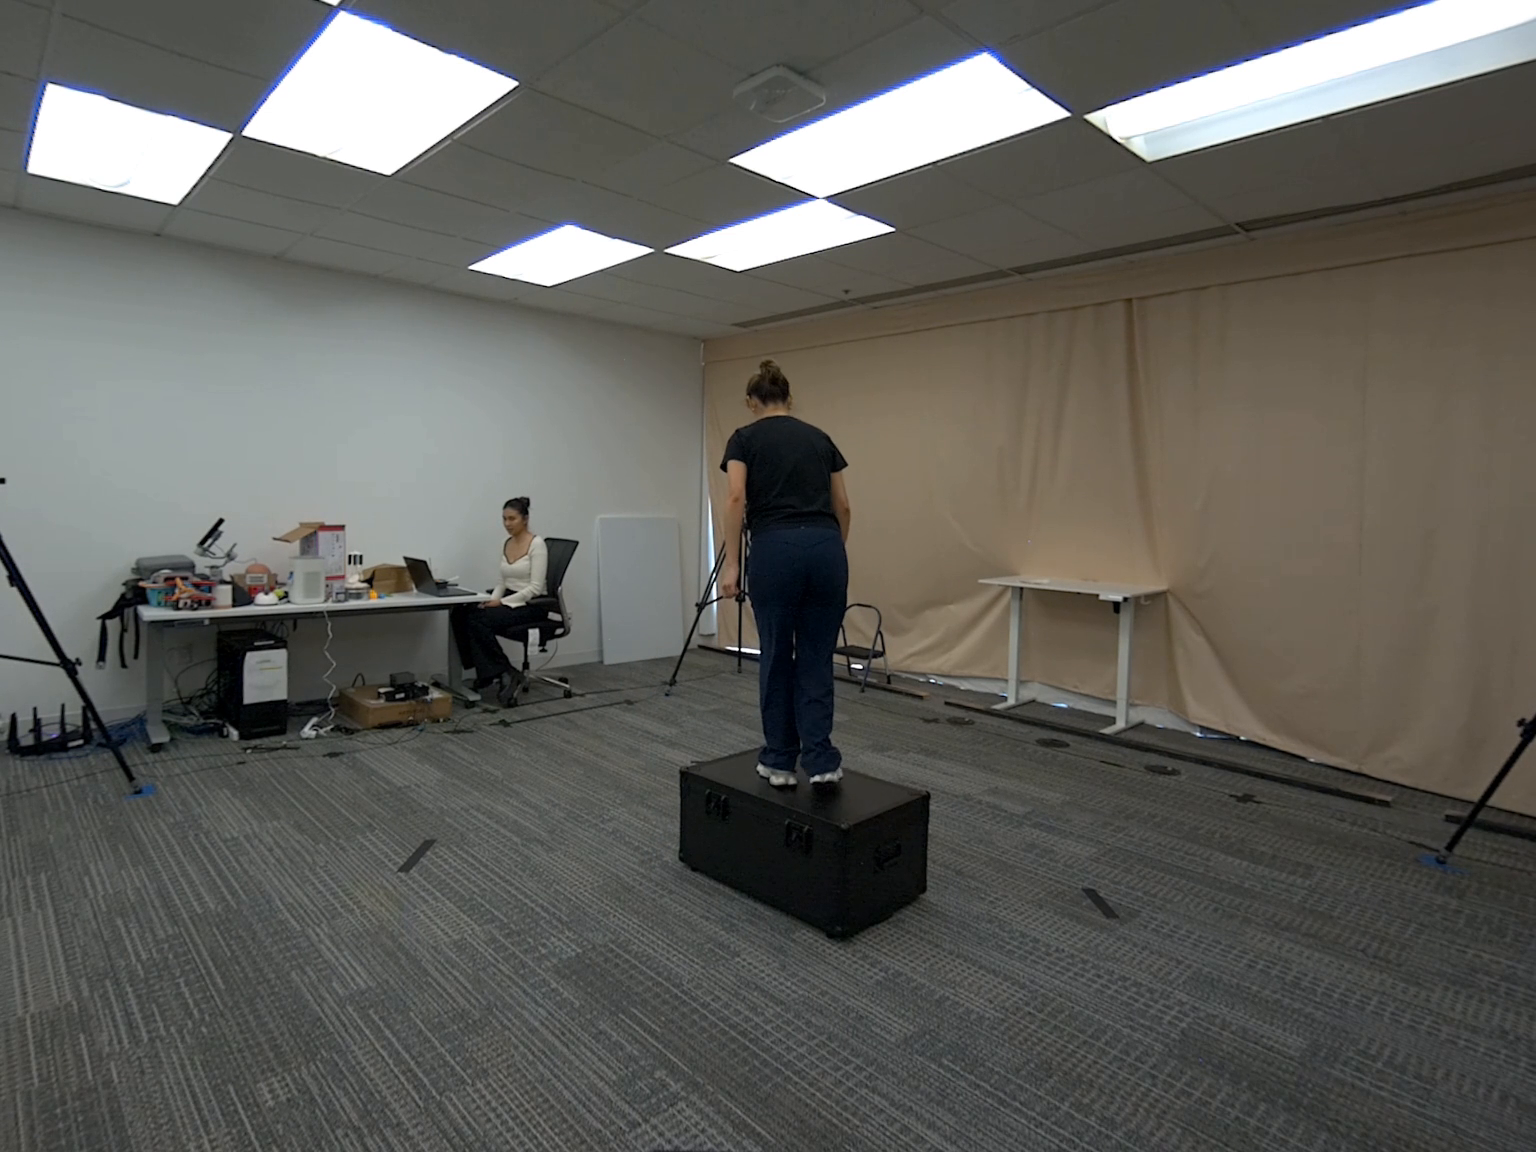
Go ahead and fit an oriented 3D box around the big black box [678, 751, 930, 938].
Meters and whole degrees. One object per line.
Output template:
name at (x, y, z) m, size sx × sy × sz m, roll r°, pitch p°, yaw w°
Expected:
big black box at (0.090, 0.927, 3.072) m, size 0.884 × 0.395 × 0.509 m, roll 6°, pitch 6°, yaw 43°
